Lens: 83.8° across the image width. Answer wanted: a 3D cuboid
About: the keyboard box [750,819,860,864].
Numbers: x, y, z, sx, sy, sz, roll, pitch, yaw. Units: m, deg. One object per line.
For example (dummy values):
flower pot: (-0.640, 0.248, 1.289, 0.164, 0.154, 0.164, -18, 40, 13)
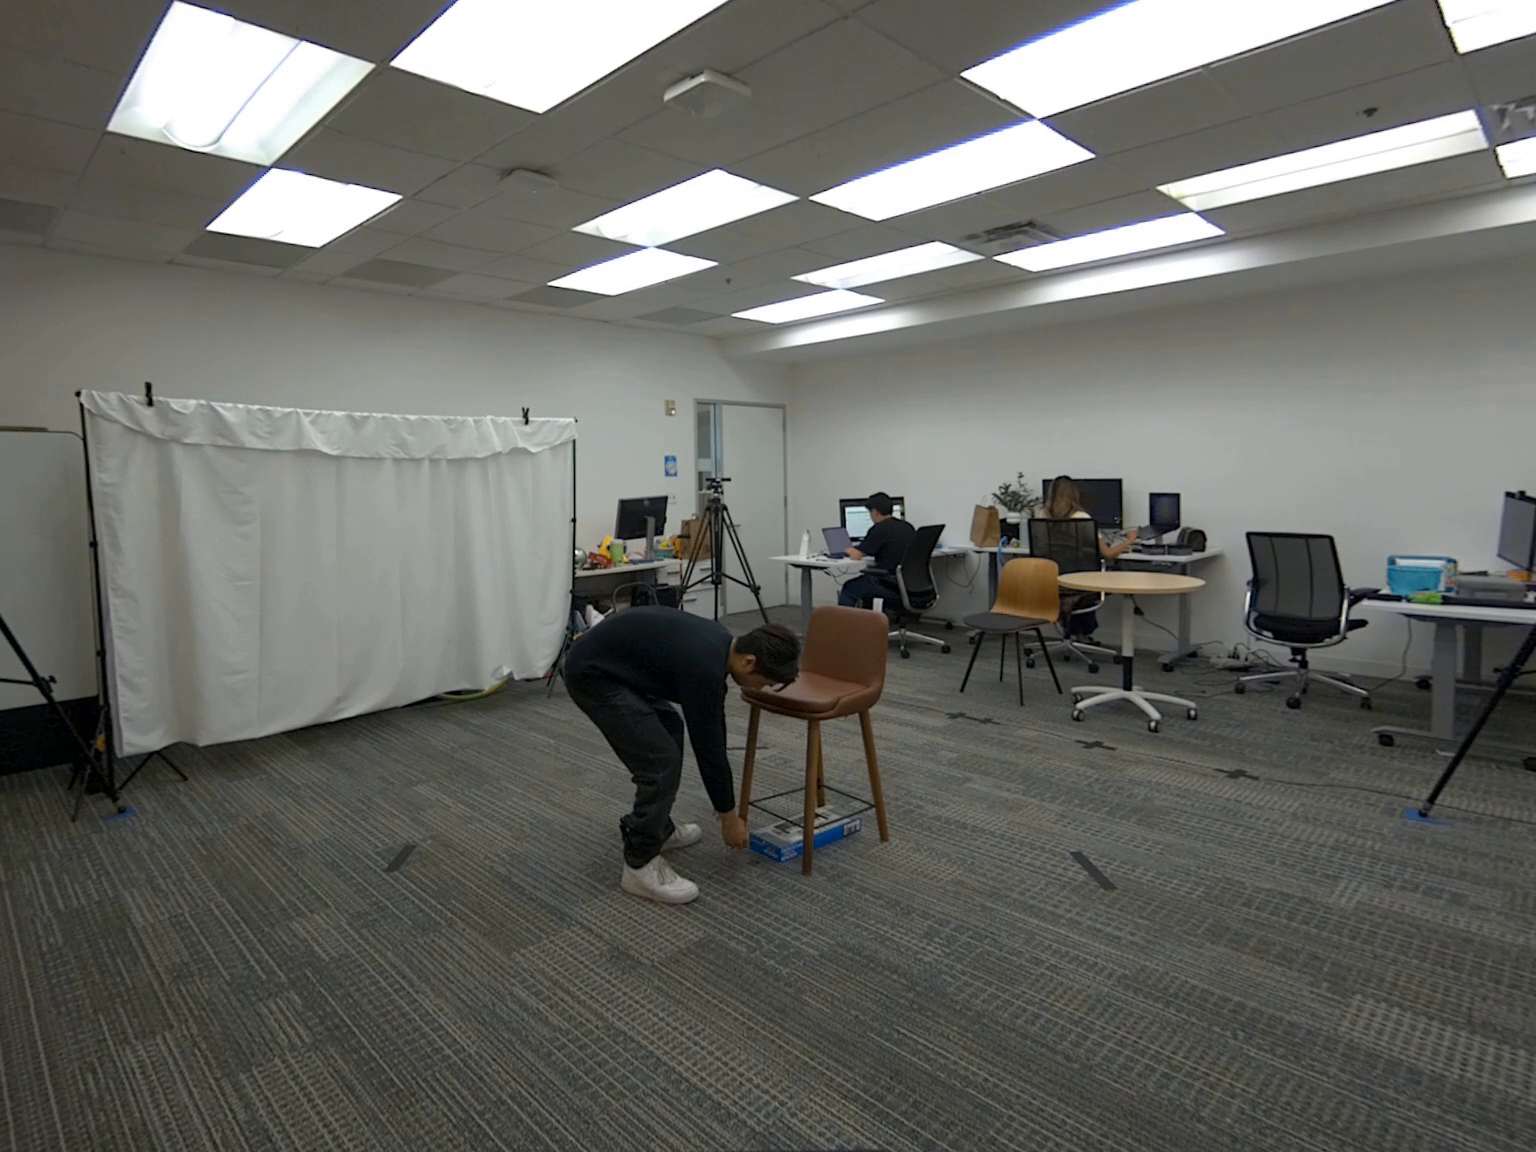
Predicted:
keyboard box: (0.150, 0.991, 3.293, 0.425, 0.059, 0.182, -7, 11, -39)
